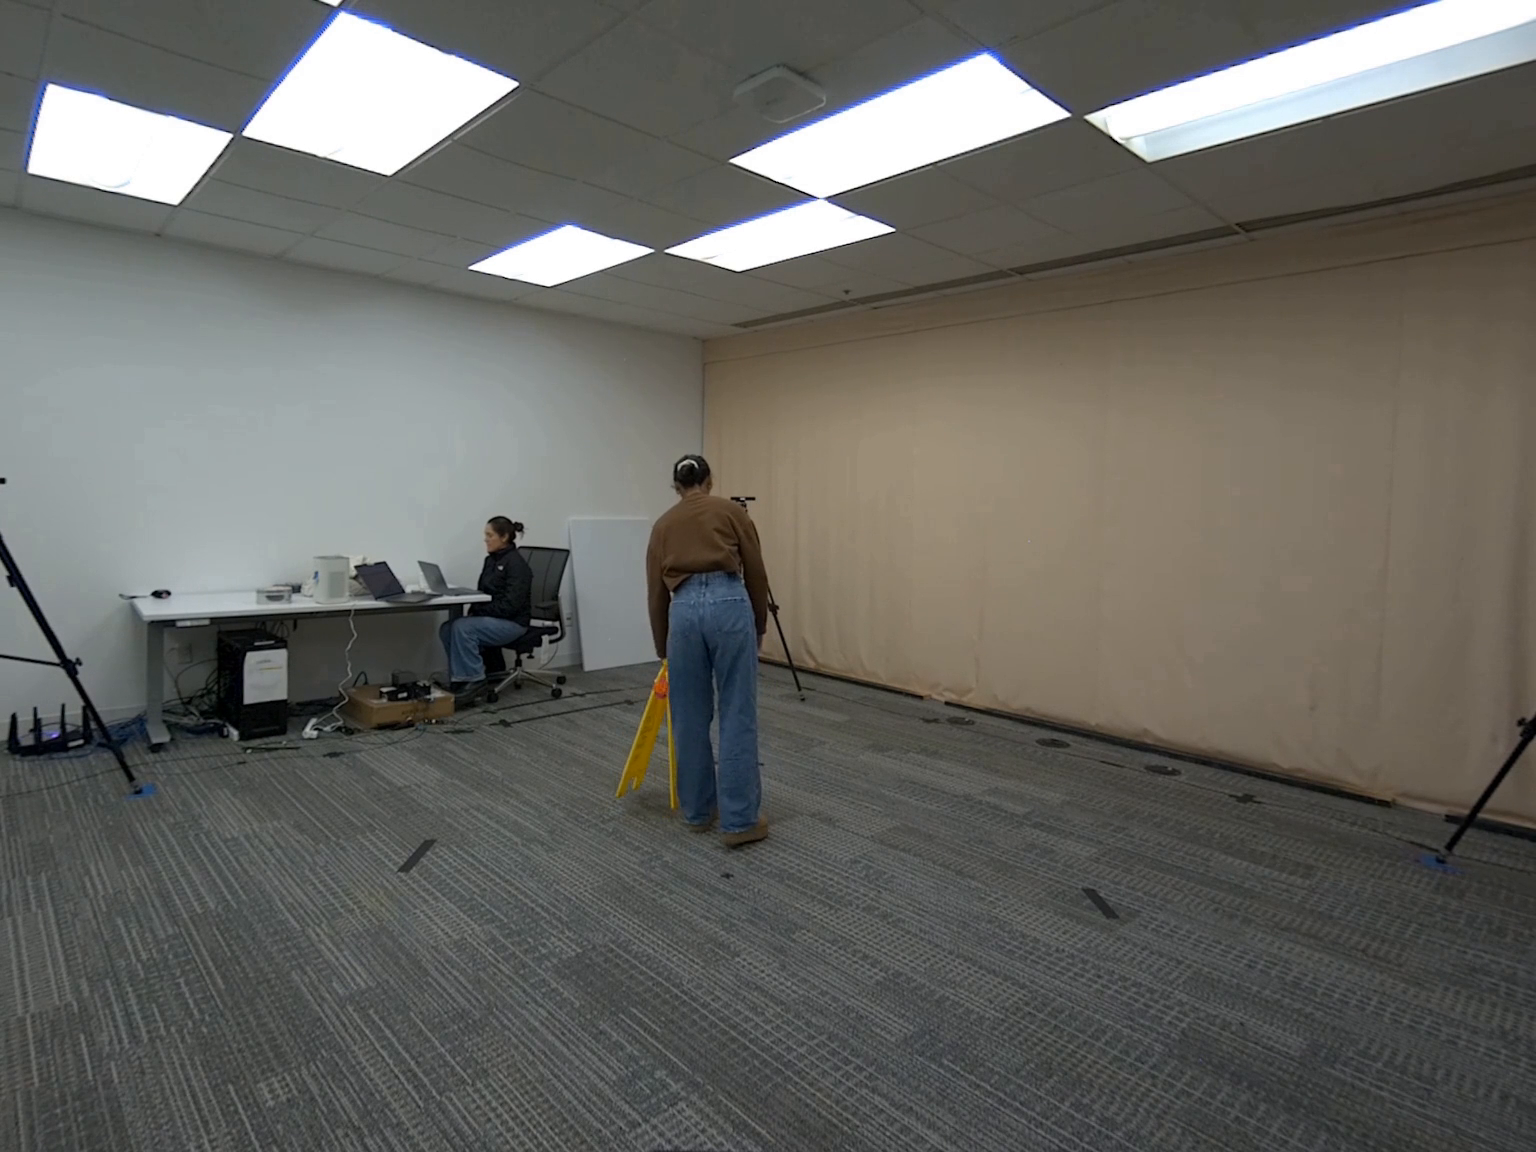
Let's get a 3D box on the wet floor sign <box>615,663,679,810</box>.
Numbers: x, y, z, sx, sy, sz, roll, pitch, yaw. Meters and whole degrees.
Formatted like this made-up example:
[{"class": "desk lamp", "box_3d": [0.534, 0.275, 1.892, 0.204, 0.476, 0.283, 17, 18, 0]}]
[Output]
[{"class": "wet floor sign", "box_3d": [-0.469, 0.670, 3.785, 0.293, 0.648, 0.278, 6, -5, 15]}]
